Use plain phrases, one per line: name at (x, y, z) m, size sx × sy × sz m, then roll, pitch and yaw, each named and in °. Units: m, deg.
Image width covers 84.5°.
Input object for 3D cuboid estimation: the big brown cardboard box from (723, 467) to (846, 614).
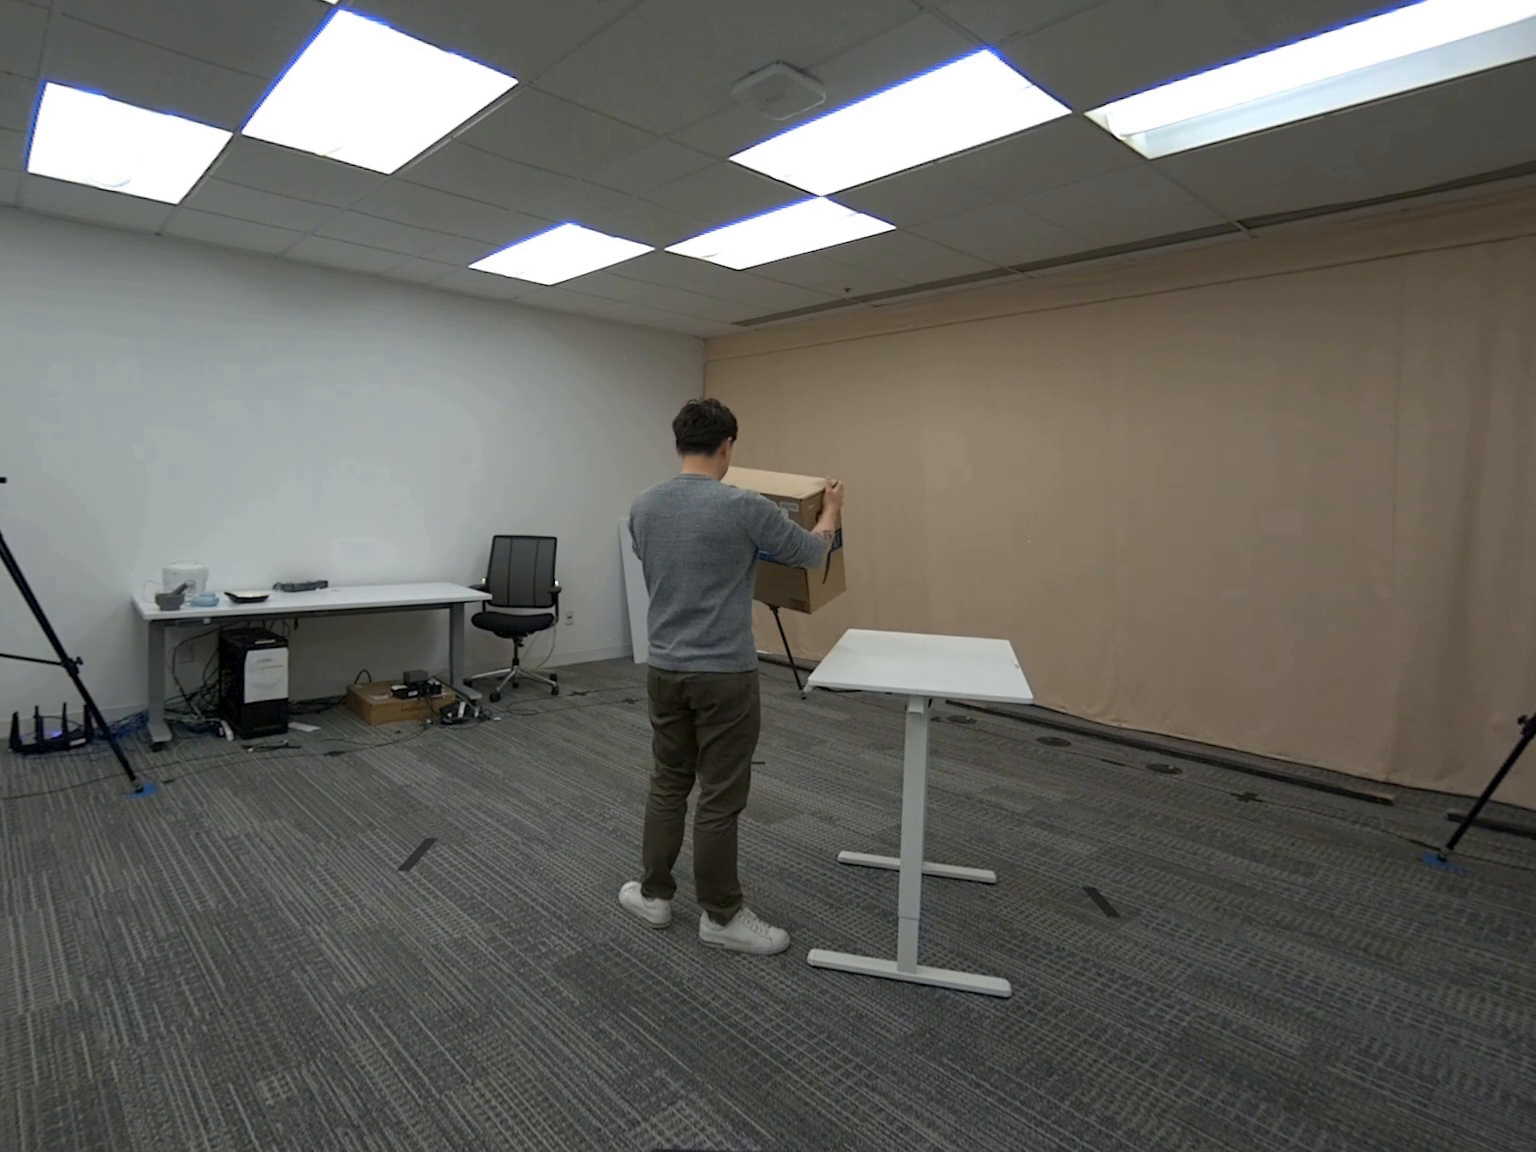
big brown cardboard box at (-0.025, -0.142, 3.026) m, size 0.605 × 0.410 × 0.230 m, roll 13°, pitch 29°, yaw 41°
